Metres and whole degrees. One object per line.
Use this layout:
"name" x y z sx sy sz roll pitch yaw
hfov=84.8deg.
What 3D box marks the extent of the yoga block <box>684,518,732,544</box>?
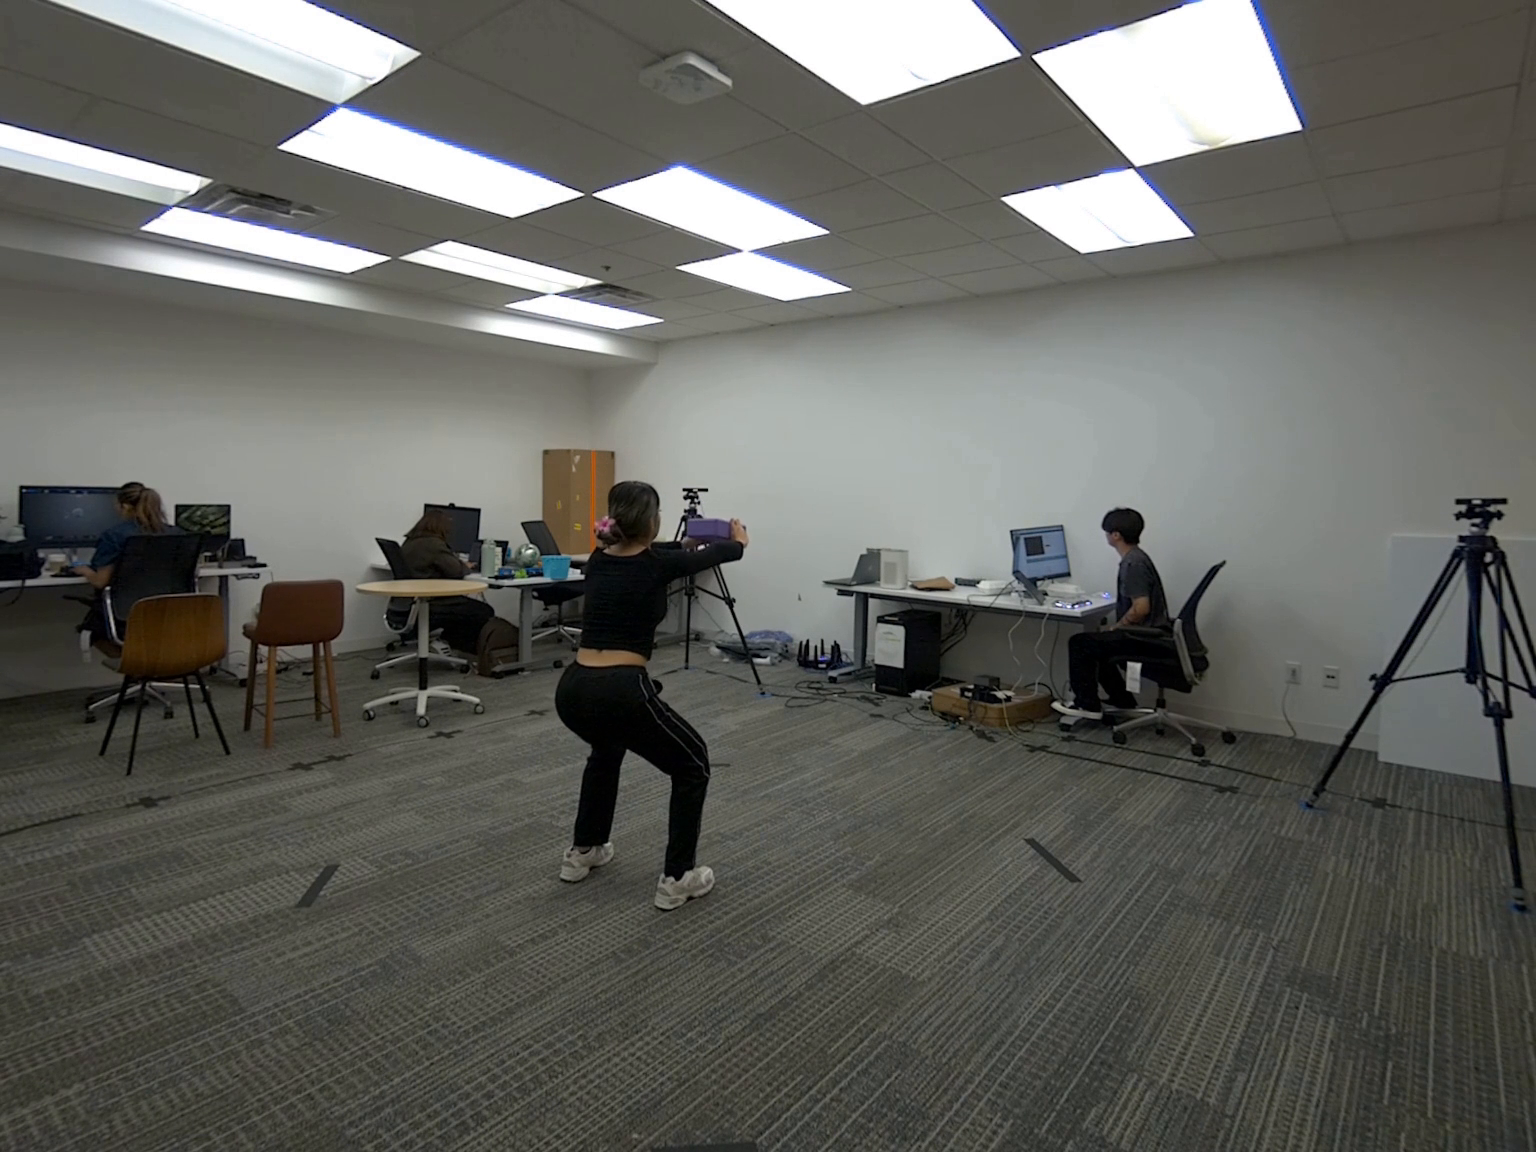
"yoga block" -0.223 -0.191 3.483 0.153 0.077 0.222 1 -4 32
